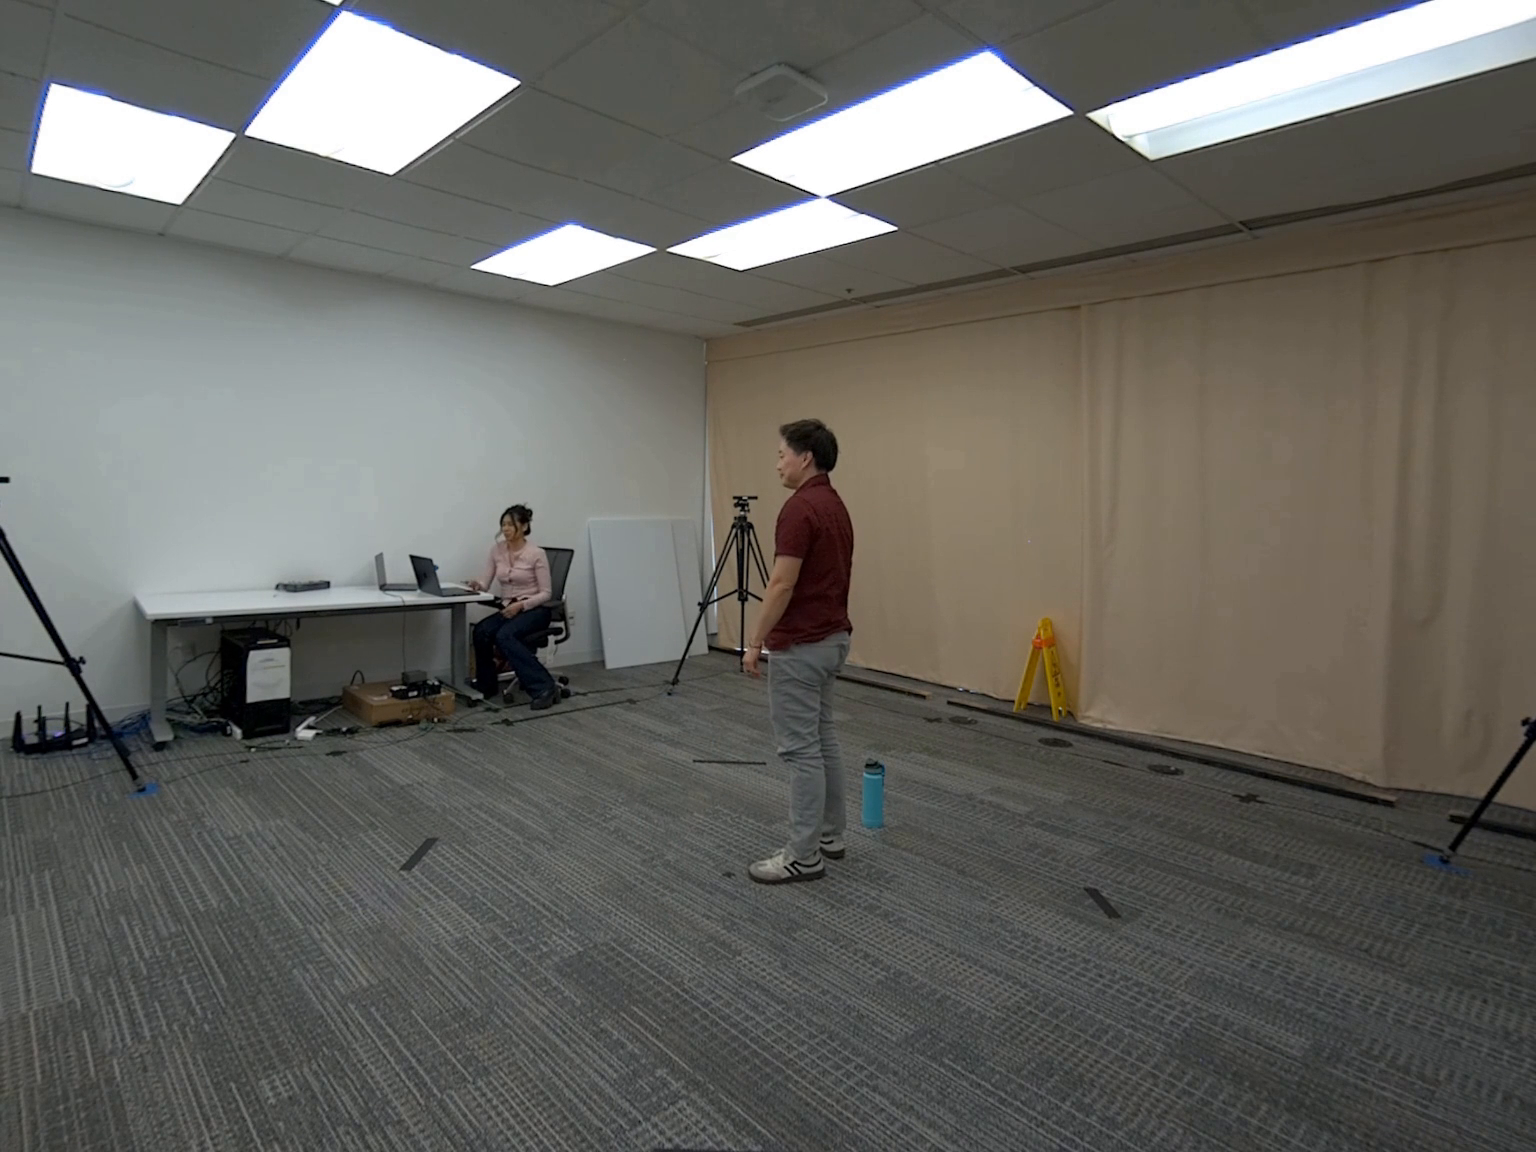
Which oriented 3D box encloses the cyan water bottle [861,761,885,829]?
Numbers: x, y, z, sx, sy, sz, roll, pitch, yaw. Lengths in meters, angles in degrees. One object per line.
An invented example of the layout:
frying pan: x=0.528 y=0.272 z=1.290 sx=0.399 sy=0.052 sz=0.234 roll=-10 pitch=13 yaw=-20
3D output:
cyan water bottle: x=0.446 y=0.931 z=3.629 sx=0.092 sy=0.283 sz=0.092 roll=2 pitch=2 yaw=-1
